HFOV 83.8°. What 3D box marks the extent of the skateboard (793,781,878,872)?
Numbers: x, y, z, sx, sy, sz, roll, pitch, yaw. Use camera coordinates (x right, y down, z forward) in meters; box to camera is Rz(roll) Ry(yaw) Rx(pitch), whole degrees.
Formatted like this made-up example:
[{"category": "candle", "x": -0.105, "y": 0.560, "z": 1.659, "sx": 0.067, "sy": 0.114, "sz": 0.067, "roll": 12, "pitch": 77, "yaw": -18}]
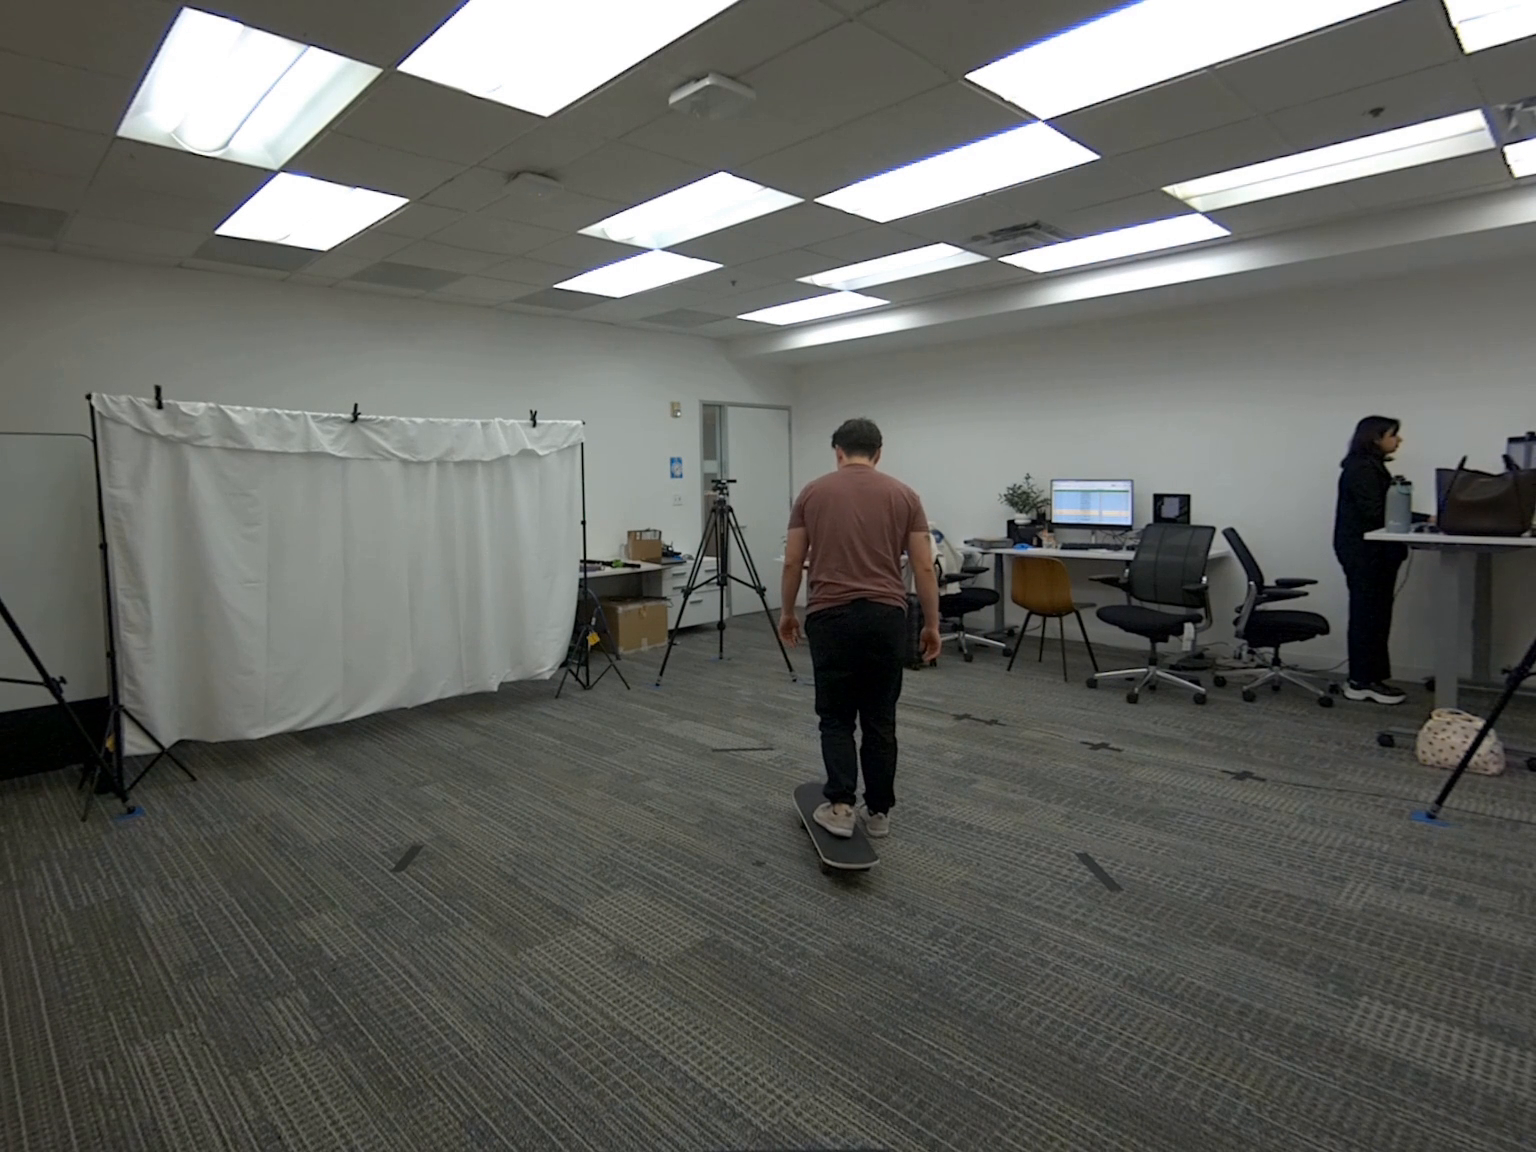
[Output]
[{"category": "skateboard", "x": 0.245, "y": 0.969, "z": 3.245, "sx": 0.192, "sy": 0.110, "sz": 0.794, "roll": -2, "pitch": 6, "yaw": -9}]
